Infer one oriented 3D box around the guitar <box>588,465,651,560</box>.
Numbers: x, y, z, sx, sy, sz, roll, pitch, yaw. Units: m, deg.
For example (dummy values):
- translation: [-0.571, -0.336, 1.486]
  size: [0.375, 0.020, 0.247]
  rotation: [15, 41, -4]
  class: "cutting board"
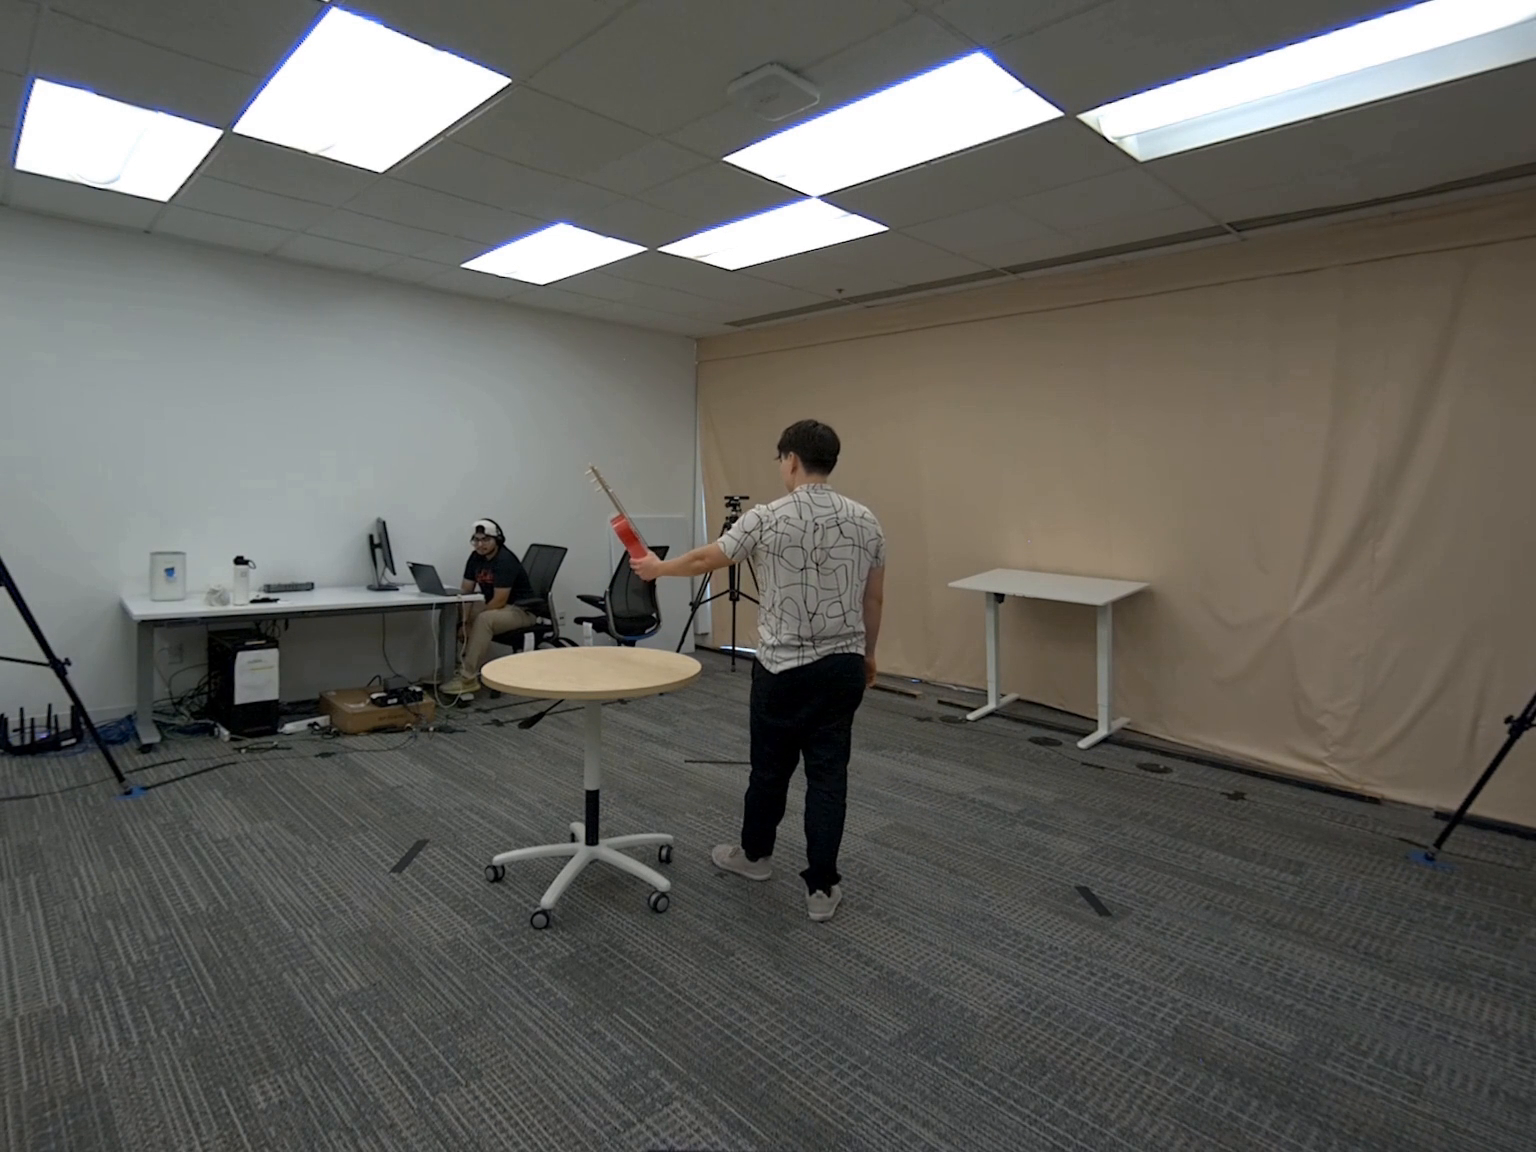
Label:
- translation: [-0.577, -0.210, 3.269]
  size: [0.071, 0.498, 0.193]
  rotation: [-32, -1, 0]
  class: "guitar"
